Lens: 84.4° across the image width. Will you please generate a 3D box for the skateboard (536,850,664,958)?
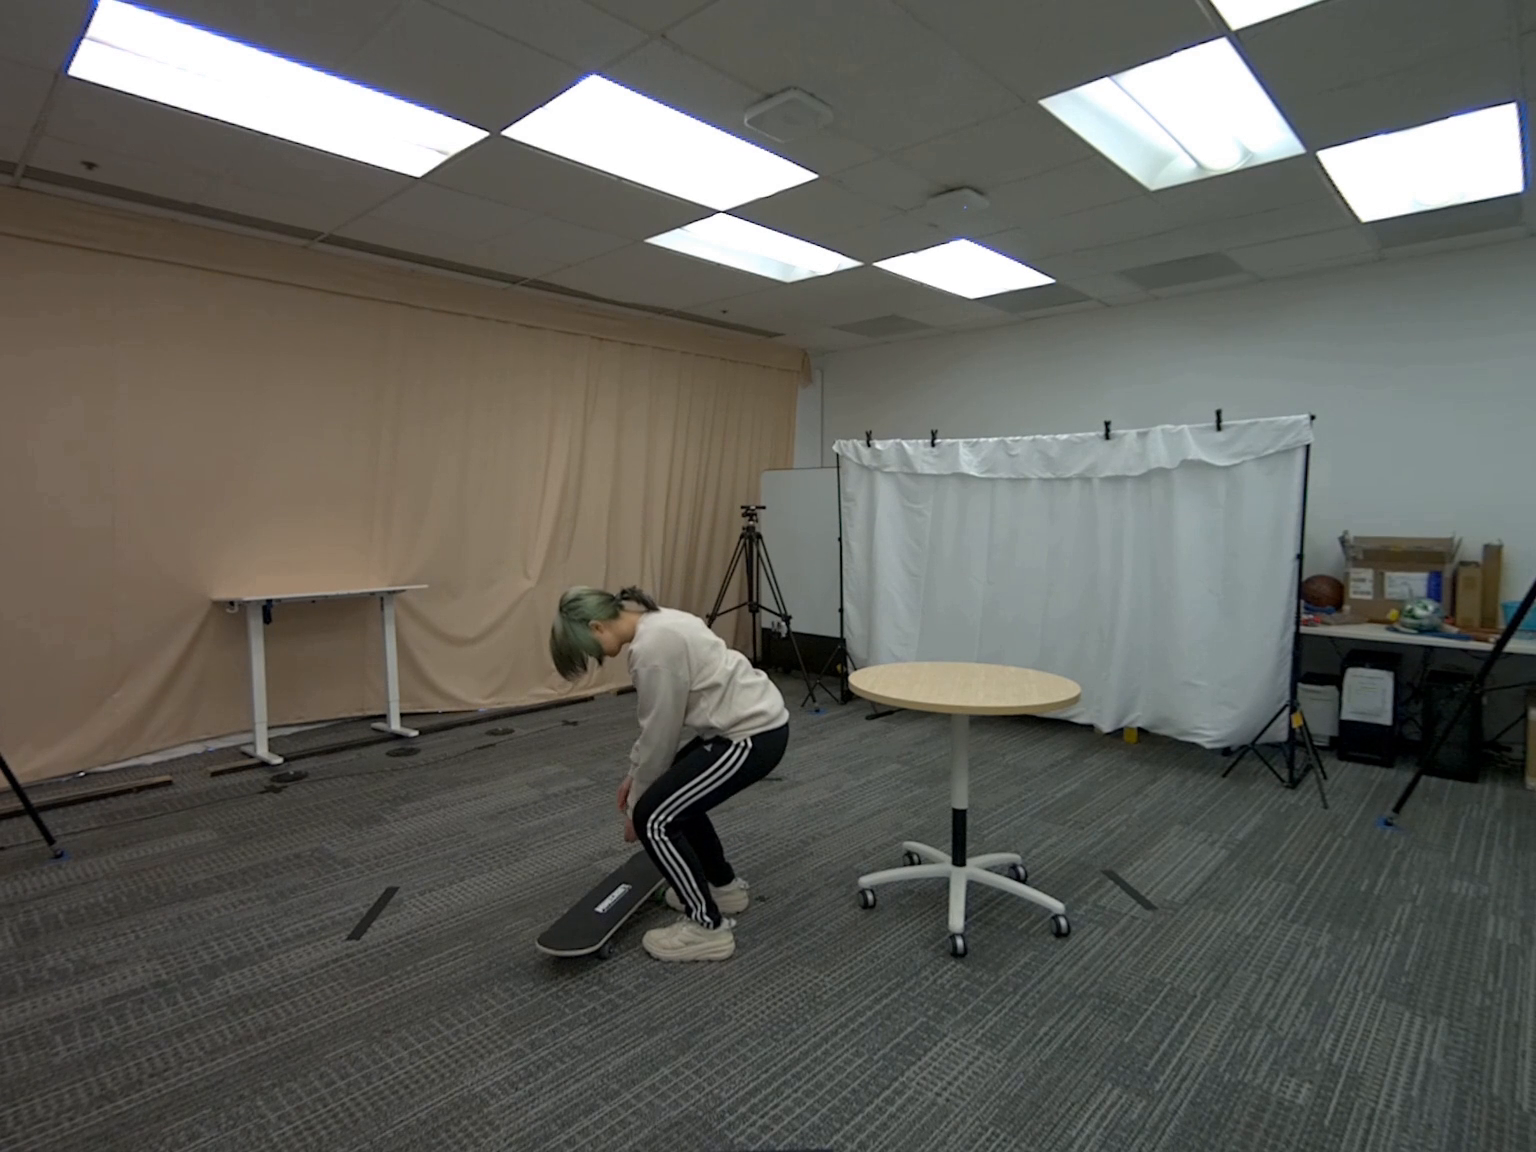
[{"bbox_3d":[-0.513,1.103,2.803,0.197,0.110,0.771,1,5,18],"label":"skateboard"}]
